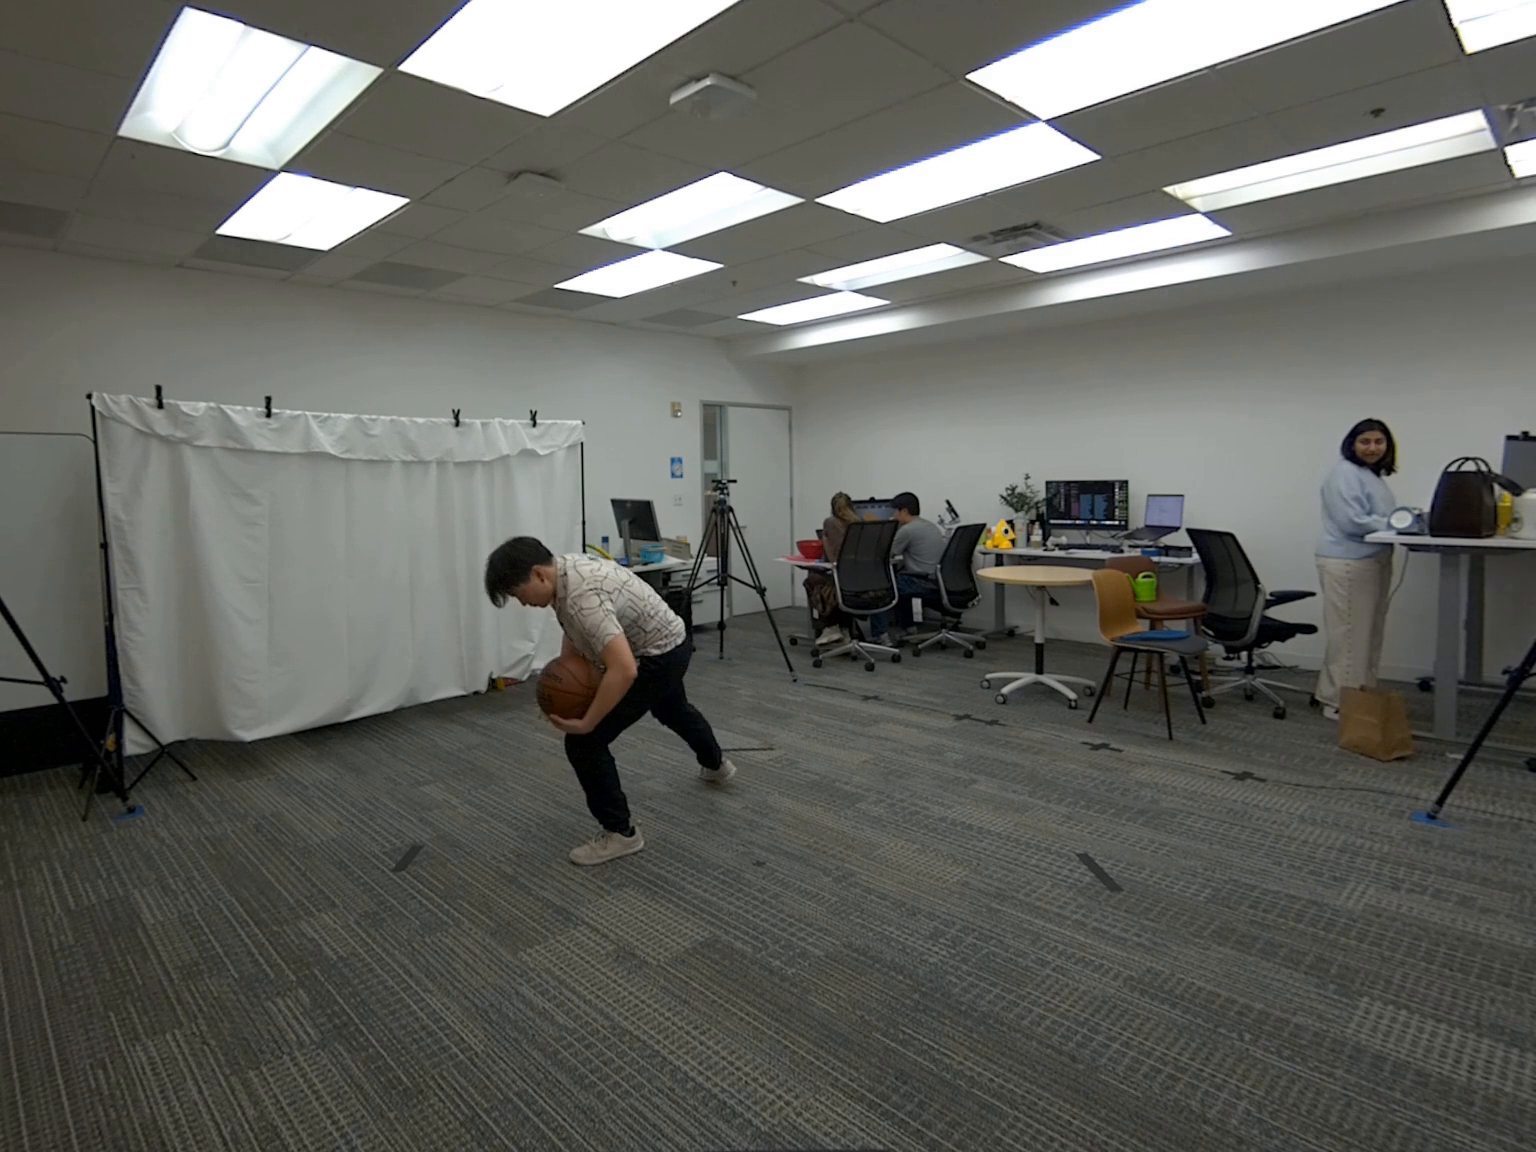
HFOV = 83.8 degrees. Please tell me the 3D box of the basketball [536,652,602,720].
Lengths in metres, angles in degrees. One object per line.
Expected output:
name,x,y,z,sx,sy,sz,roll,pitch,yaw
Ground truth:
basketball,-0.693,0.402,2.995,0.236,0.235,0.237,-1,5,-2
